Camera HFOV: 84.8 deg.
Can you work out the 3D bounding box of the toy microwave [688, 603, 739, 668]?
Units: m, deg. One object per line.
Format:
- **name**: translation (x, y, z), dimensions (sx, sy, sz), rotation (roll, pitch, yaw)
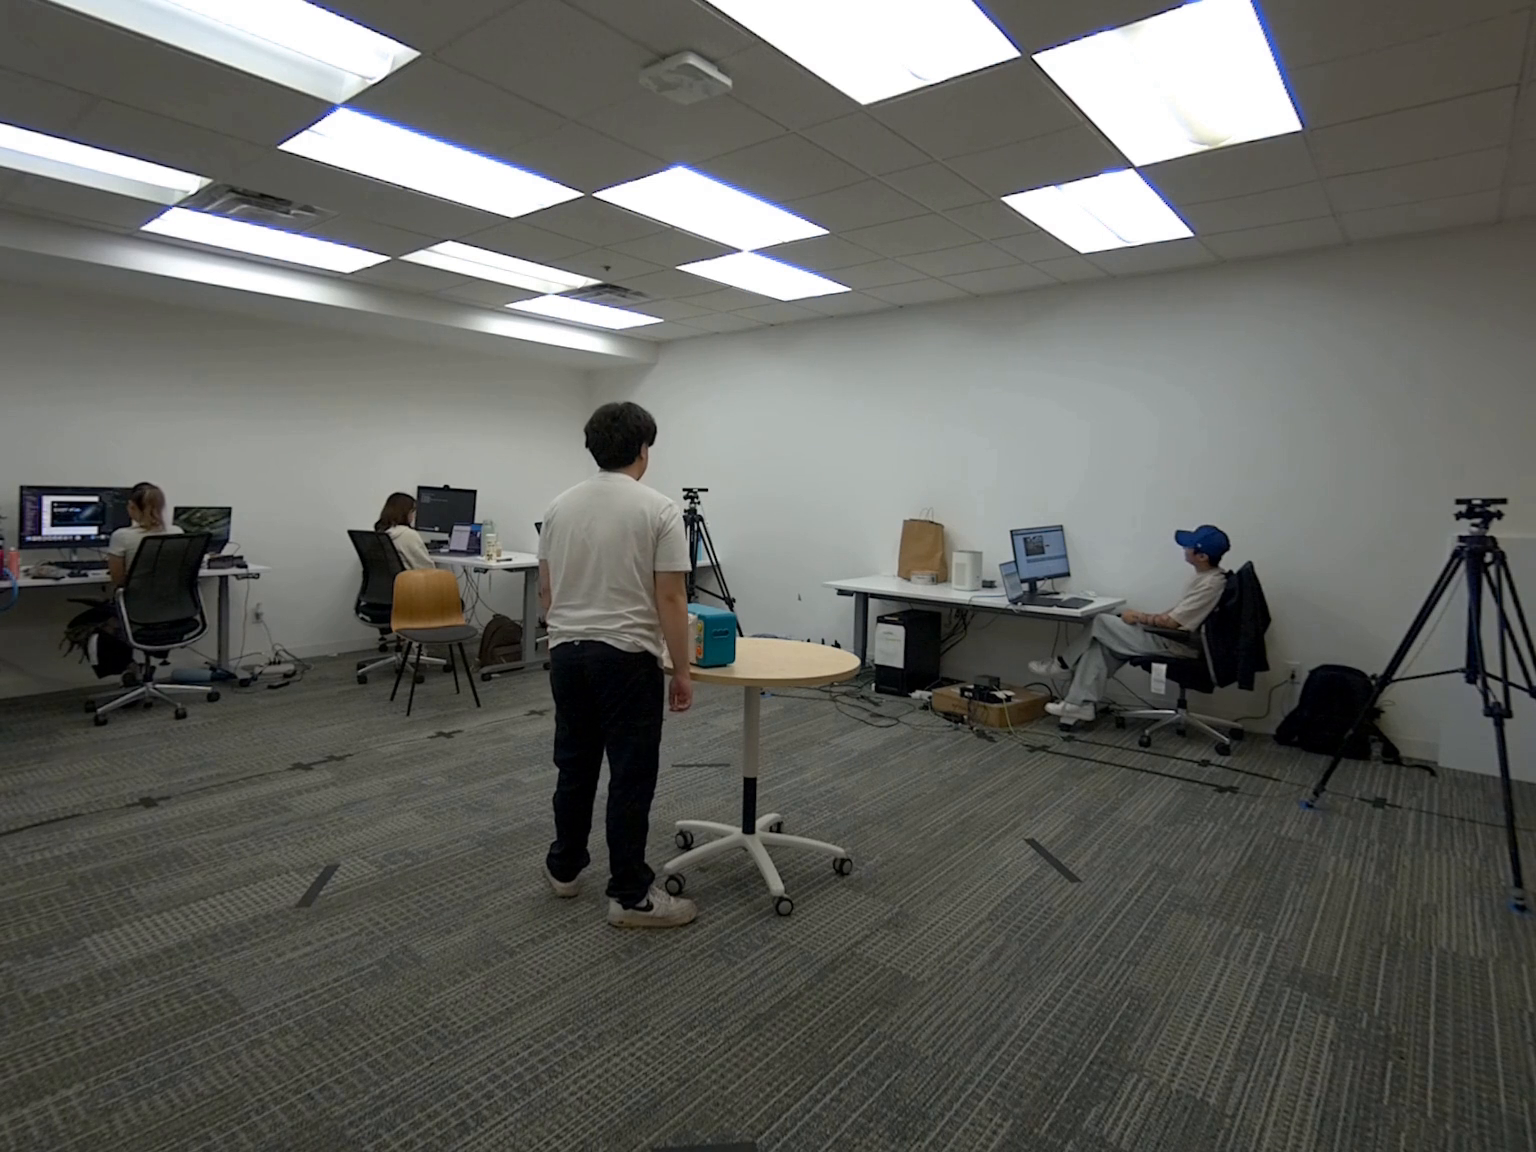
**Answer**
- **toy microwave**: translation (-0.249, 0.201, 2.944), dimensions (0.148, 0.183, 0.295), rotation (-2, 5, -34)
